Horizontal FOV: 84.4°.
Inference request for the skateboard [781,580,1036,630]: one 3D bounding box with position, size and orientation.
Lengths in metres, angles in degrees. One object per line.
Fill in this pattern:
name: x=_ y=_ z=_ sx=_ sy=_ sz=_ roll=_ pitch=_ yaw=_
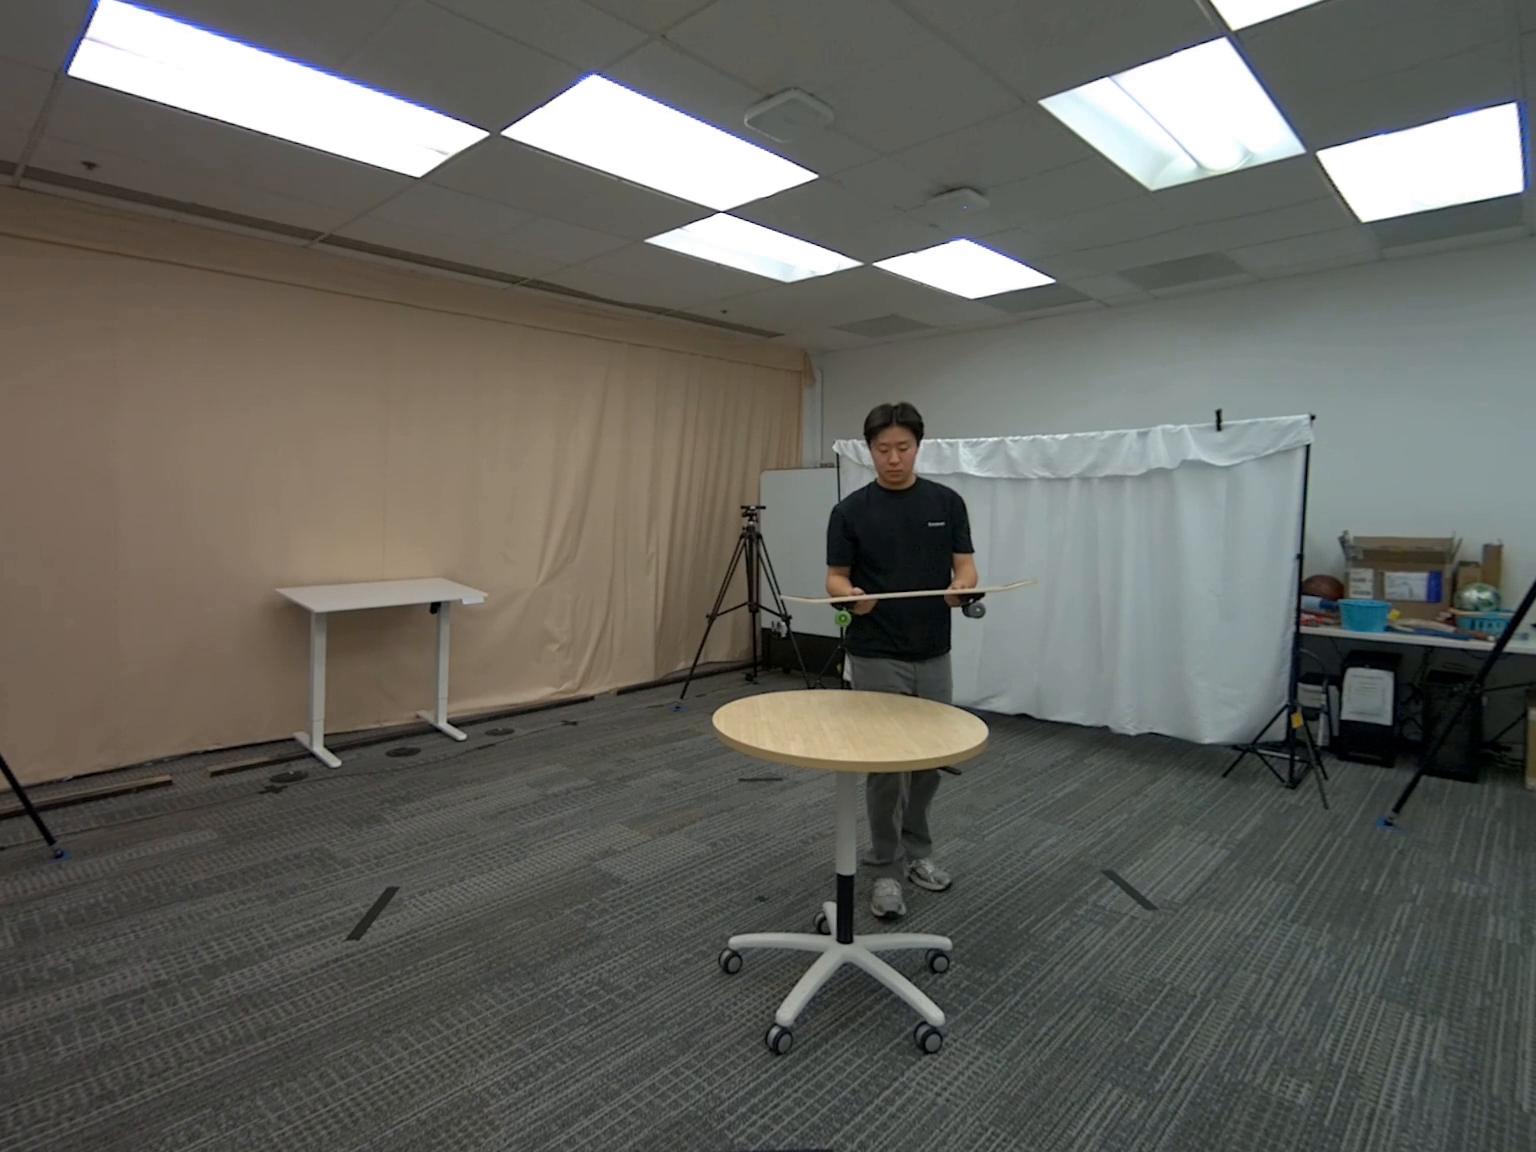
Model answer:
skateboard: x=0.436 y=0.097 z=2.625 sx=0.794 sy=0.110 sz=0.191 roll=-5 pitch=-2 yaw=11
